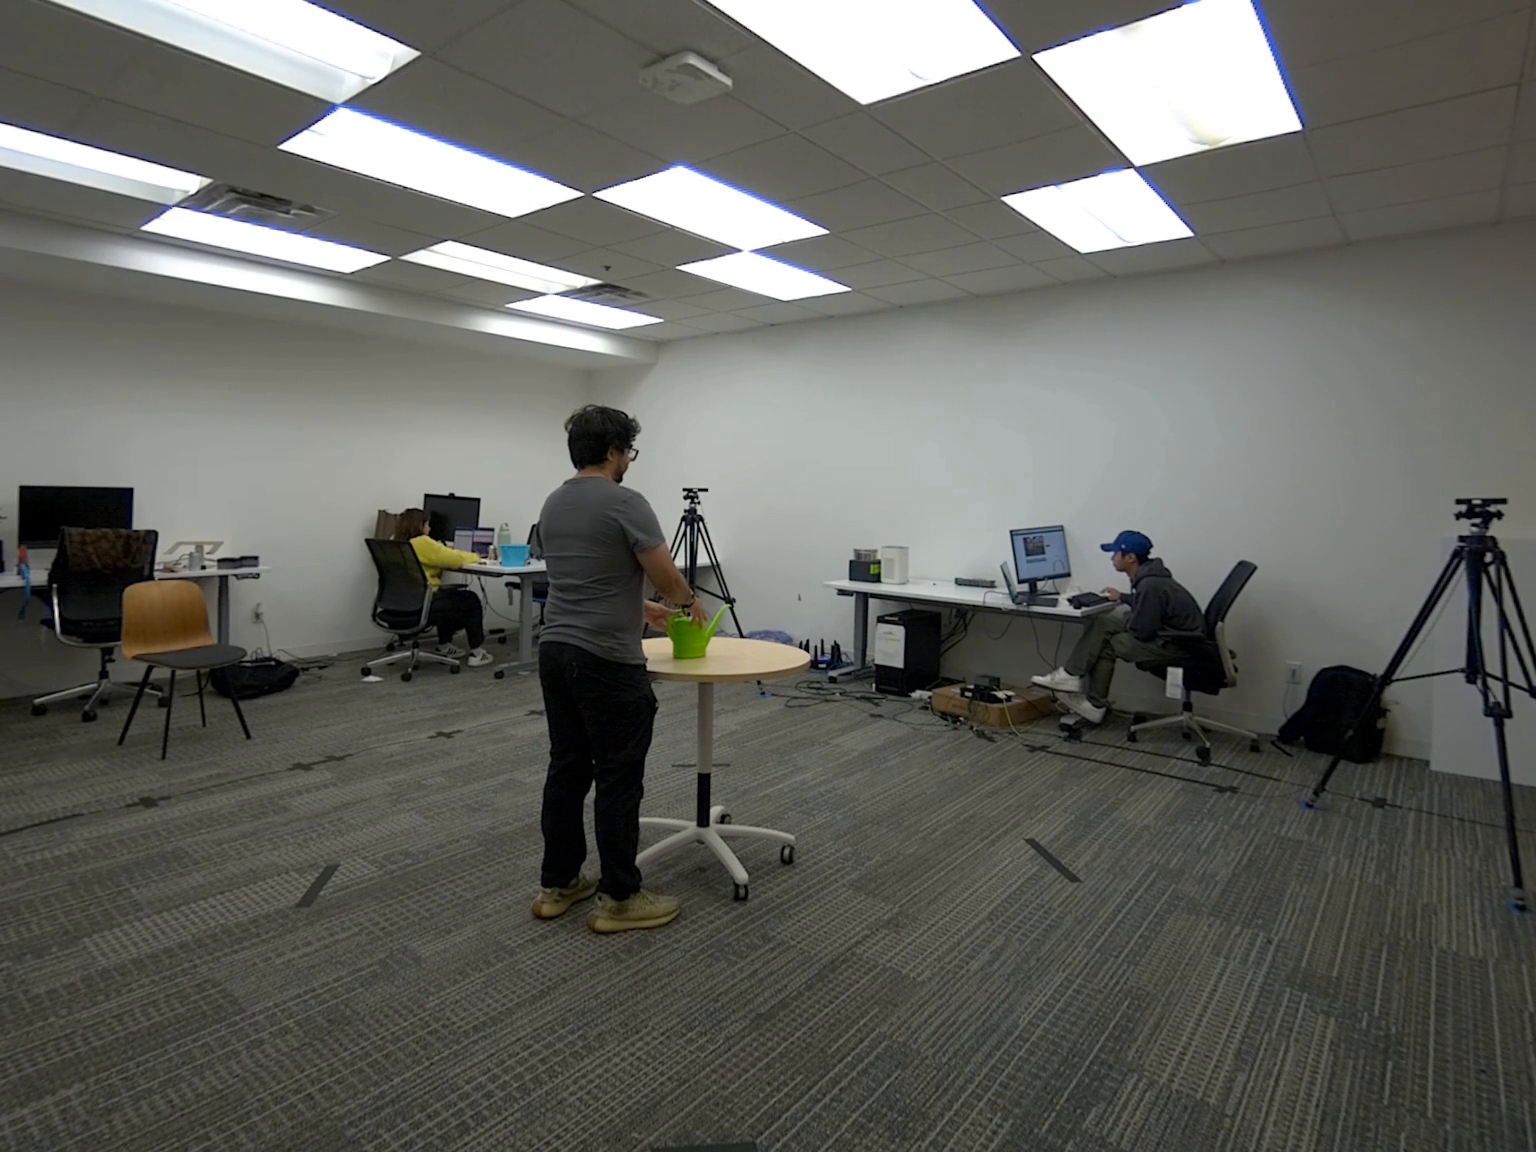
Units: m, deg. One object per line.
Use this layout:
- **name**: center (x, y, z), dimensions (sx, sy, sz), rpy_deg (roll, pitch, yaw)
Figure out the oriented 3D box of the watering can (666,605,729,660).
- **watering can**: center (-0.251, 0.202, 3.088), dimensions (0.272, 0.176, 0.100), rpy_deg (-3, 5, -23)
